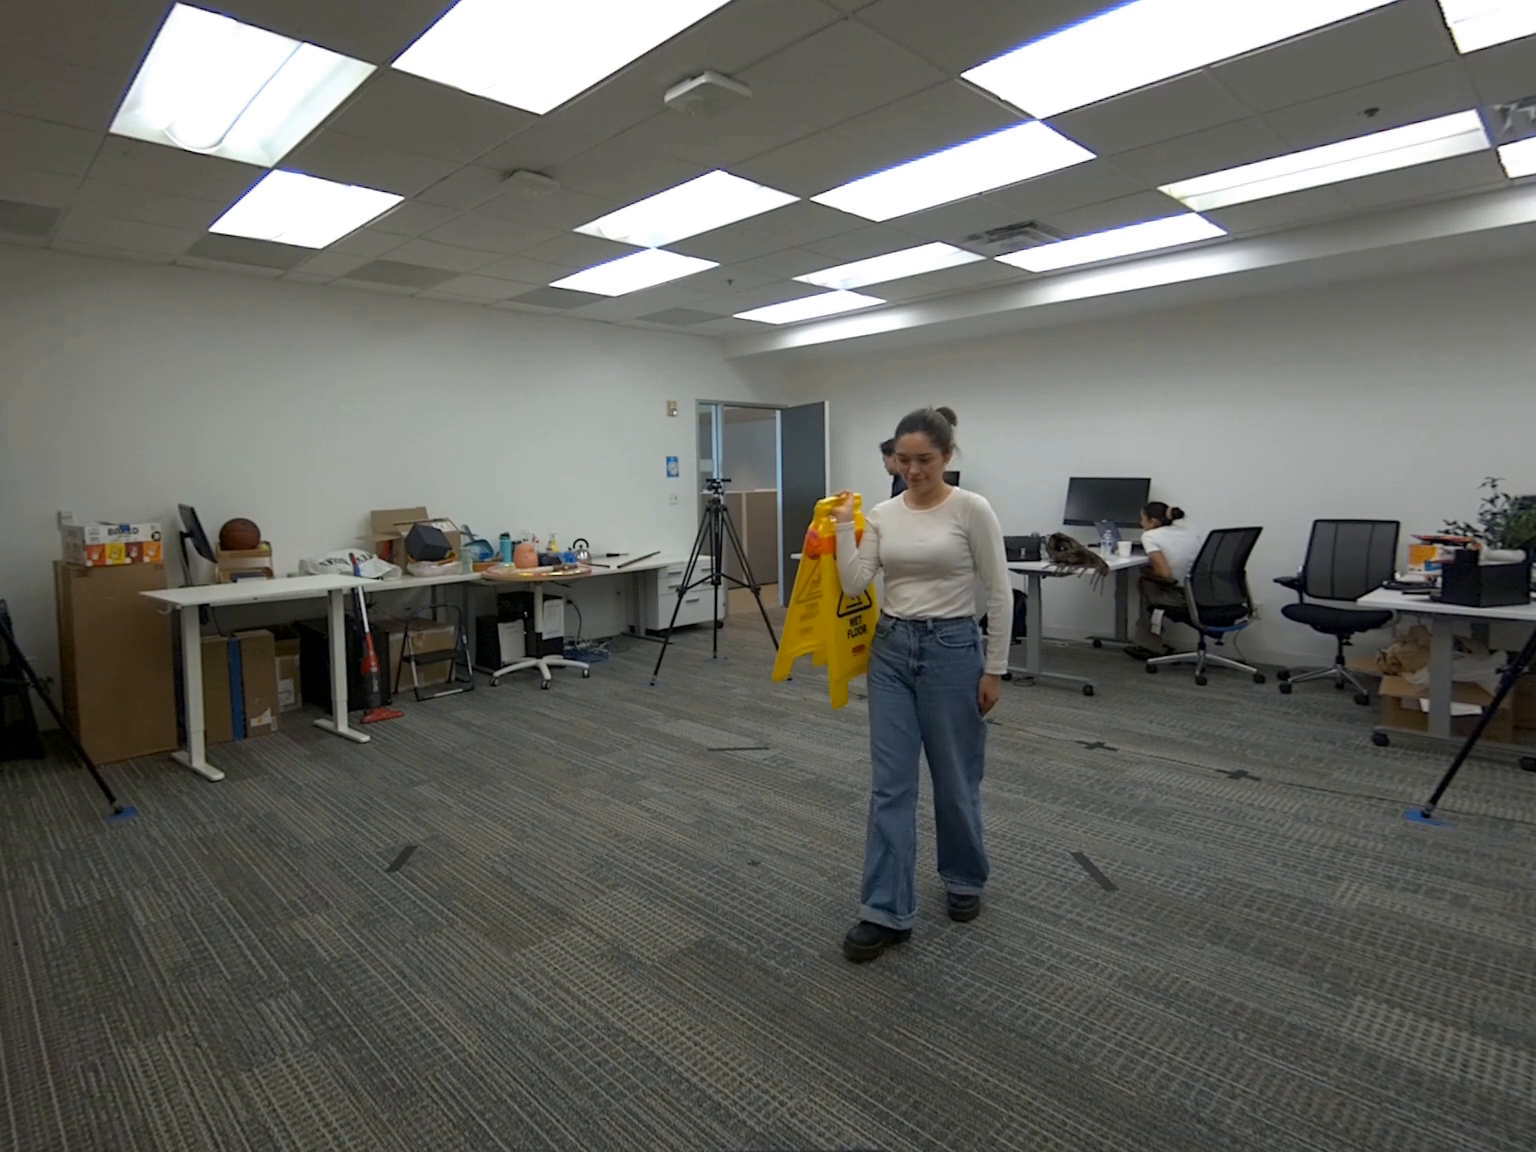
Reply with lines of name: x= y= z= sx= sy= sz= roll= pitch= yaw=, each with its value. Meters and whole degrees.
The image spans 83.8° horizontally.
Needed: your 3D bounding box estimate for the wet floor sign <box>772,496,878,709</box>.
wet floor sign: x=0.218 y=0.054 z=2.795 sx=0.276 sy=0.638 sz=0.300 roll=-13 pitch=20 yaw=-43
